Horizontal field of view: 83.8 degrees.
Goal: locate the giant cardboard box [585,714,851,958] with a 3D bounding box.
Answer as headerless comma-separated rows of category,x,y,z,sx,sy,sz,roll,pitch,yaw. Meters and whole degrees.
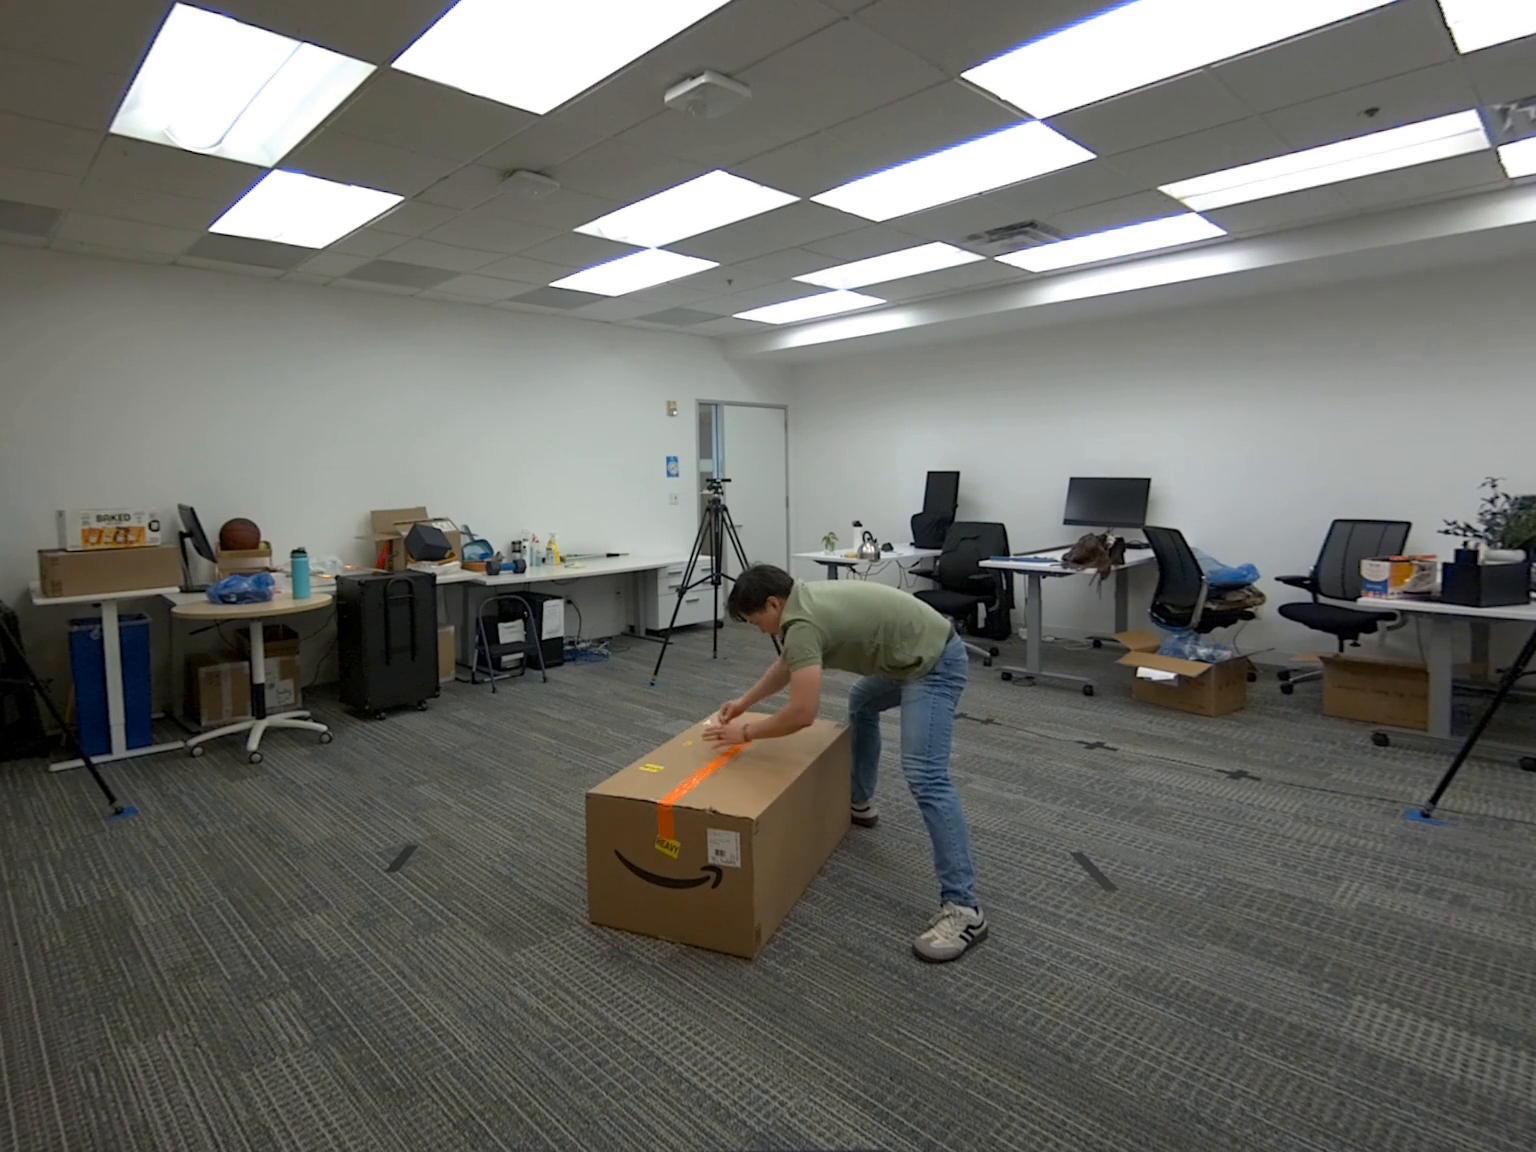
giant cardboard box,-0.125,0.836,3.045,0.590,0.424,1.009,1,6,22
